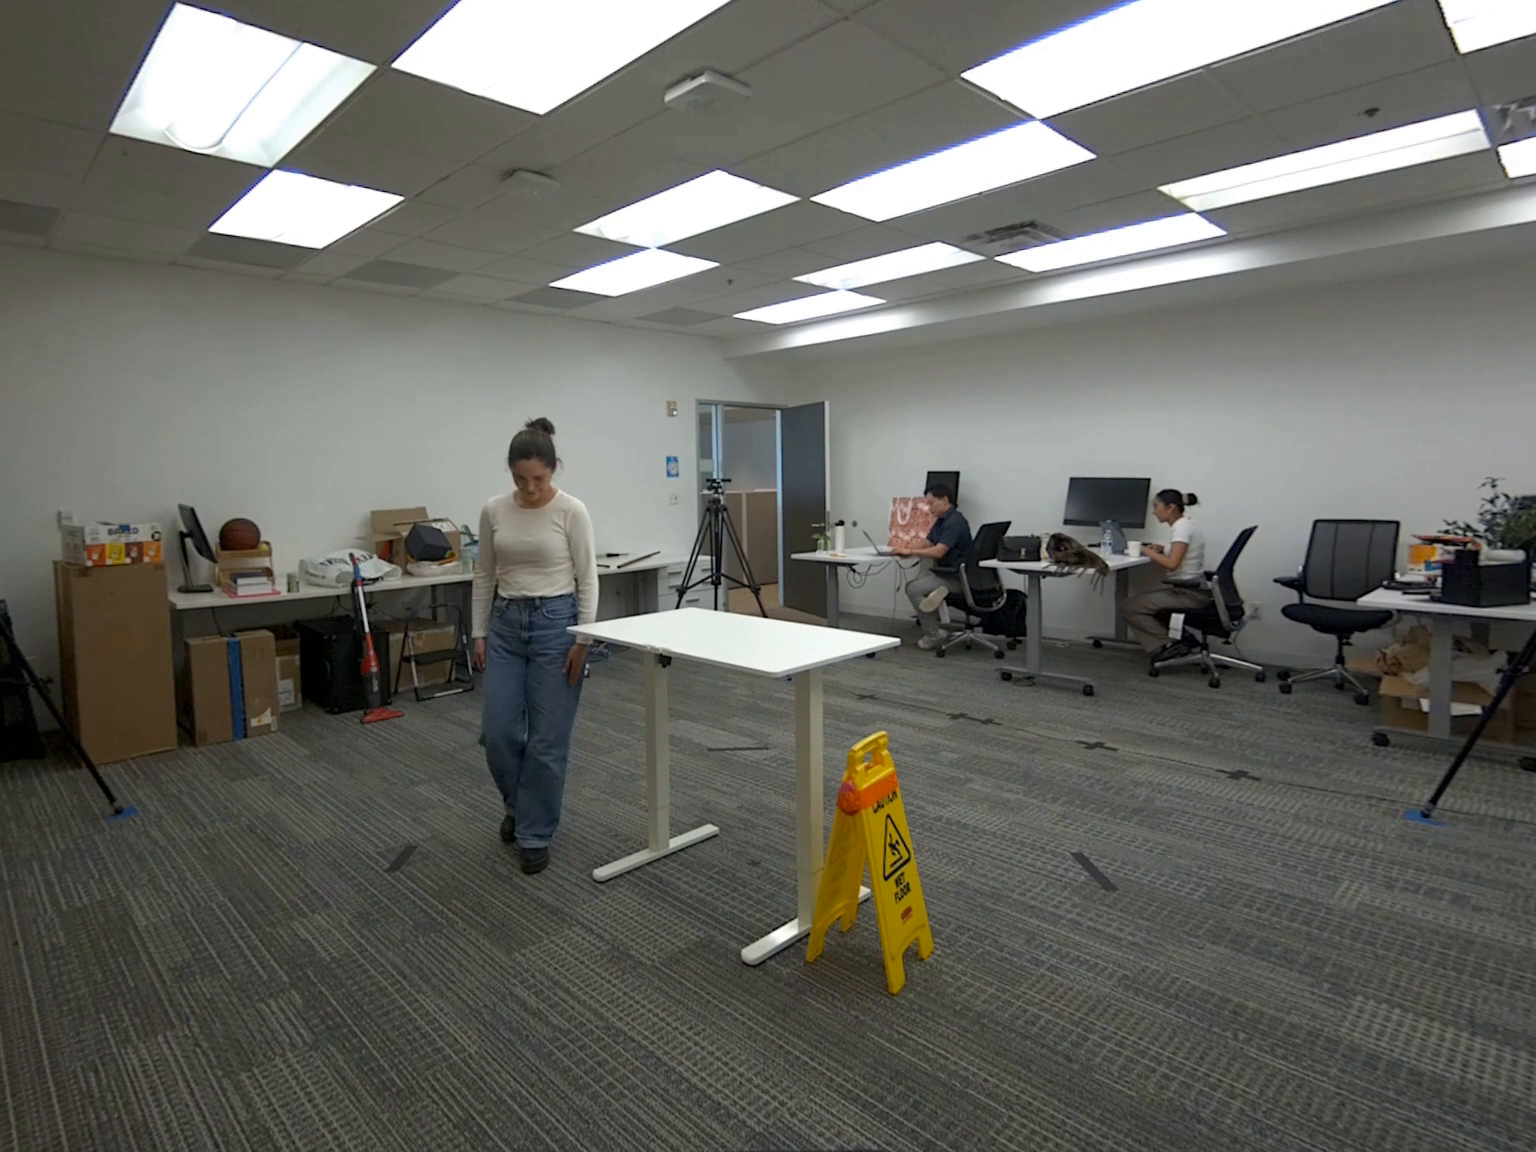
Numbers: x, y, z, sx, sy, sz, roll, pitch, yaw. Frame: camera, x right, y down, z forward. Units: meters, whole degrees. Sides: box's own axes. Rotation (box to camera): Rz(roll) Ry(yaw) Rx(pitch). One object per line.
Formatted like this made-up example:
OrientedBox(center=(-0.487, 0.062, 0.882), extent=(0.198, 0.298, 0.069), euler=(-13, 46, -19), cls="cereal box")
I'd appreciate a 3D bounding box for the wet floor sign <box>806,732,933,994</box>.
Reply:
OrientedBox(center=(0.301, 0.791, 2.466), extent=(0.298, 0.643, 0.275), euler=(3, 6, 36), cls="wet floor sign")
